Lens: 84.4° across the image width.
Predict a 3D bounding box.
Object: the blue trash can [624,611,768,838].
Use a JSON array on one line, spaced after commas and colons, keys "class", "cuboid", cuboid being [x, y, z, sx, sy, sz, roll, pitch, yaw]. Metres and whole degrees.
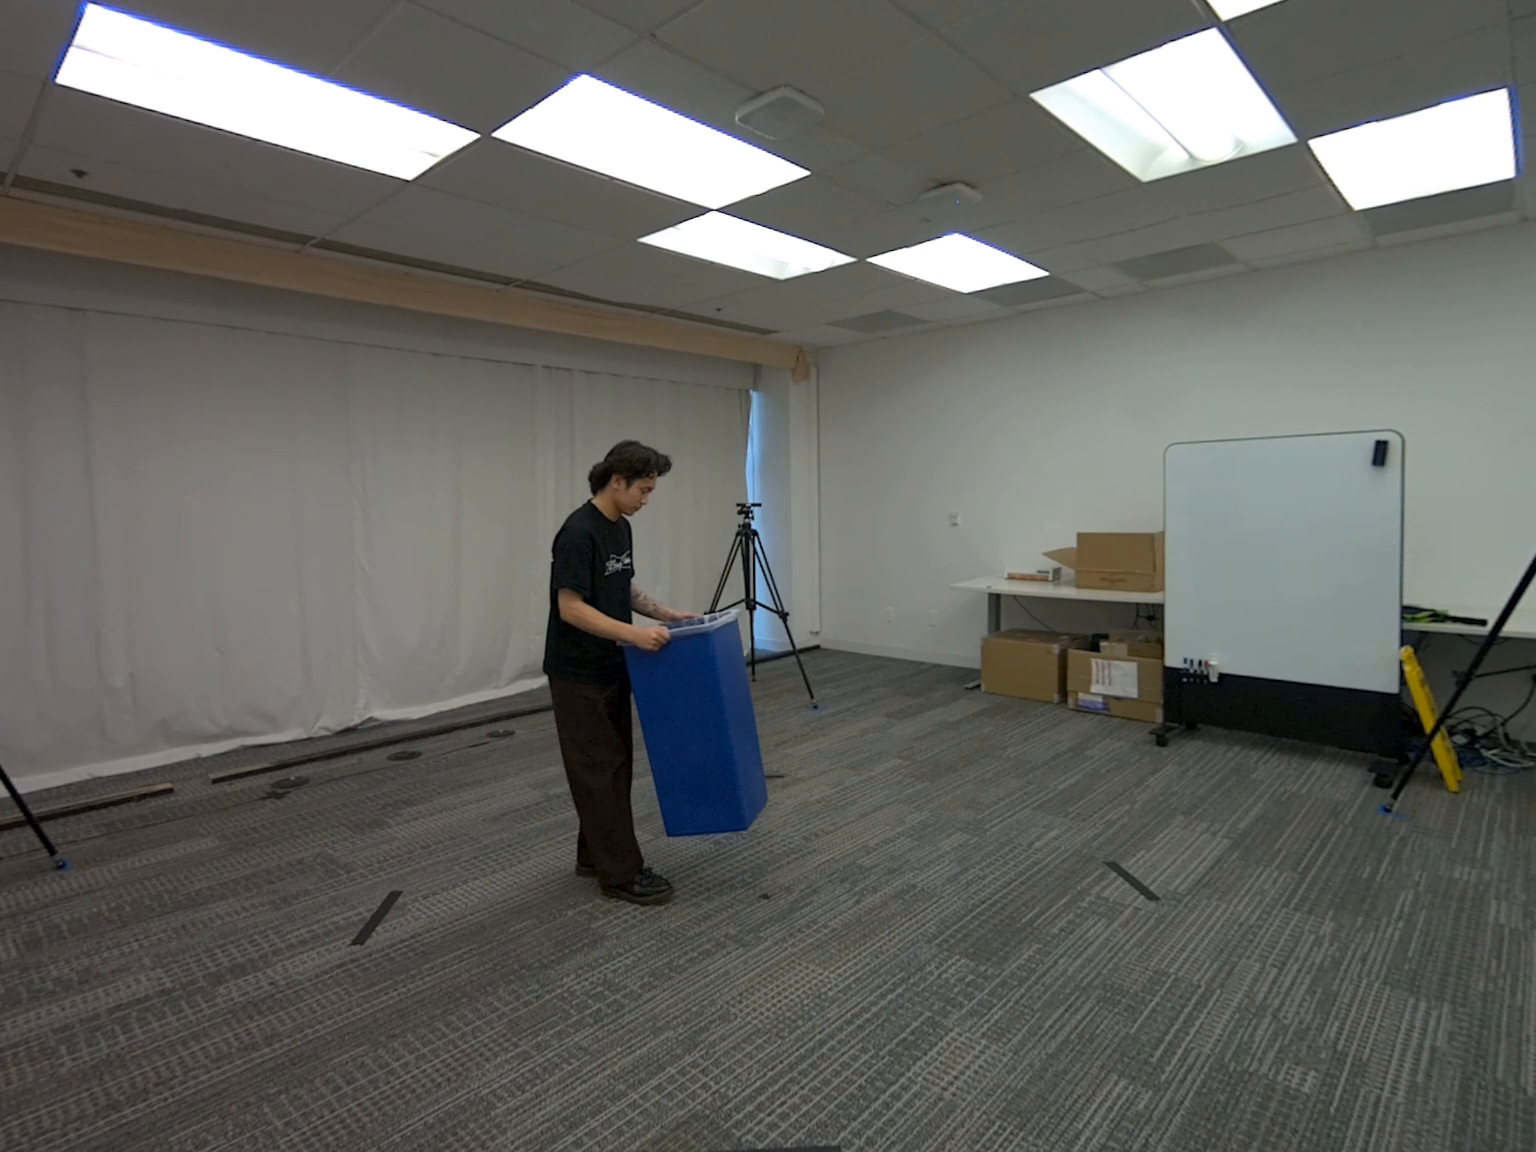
[{"class": "blue trash can", "cuboid": [-0.244, 0.528, 3.000, 0.384, 0.714, 0.368, -11, 0, 17]}]
